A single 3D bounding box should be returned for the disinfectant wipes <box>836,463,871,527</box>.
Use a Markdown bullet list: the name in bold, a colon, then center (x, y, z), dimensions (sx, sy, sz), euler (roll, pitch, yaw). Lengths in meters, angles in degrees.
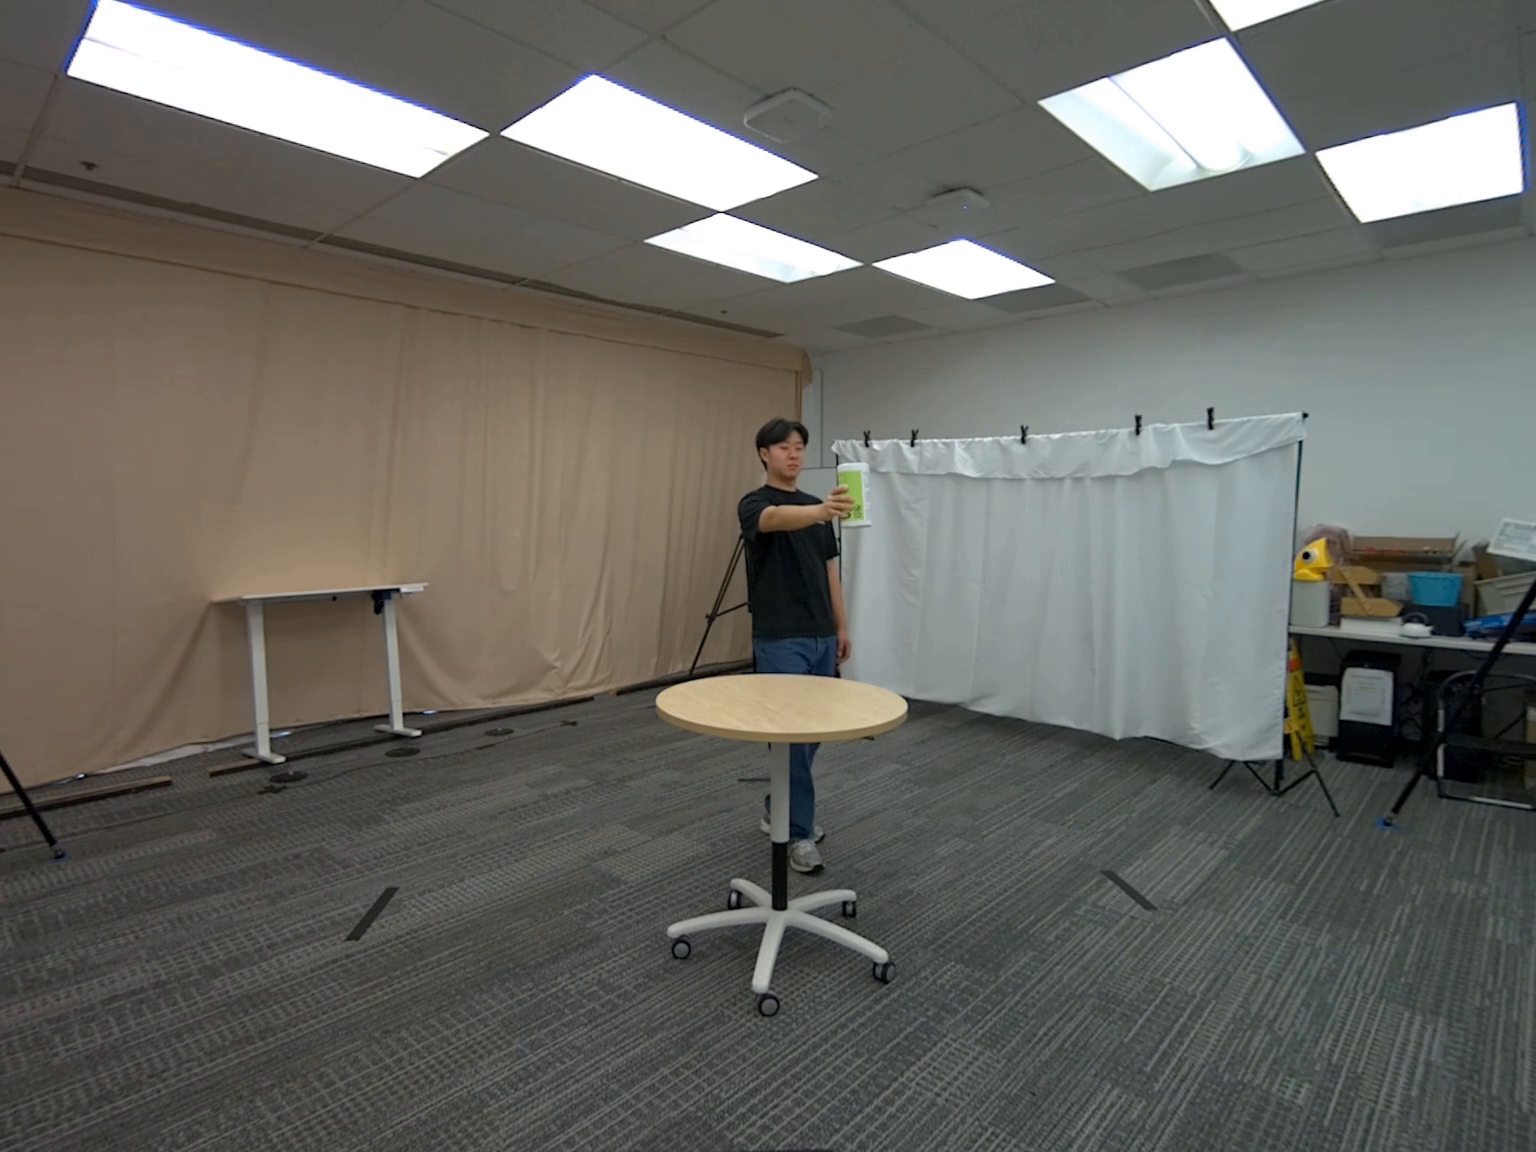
- **disinfectant wipes**: center (0.306, -0.273, 2.867), dimensions (0.118, 0.218, 0.118), euler (-2, -1, -2)
